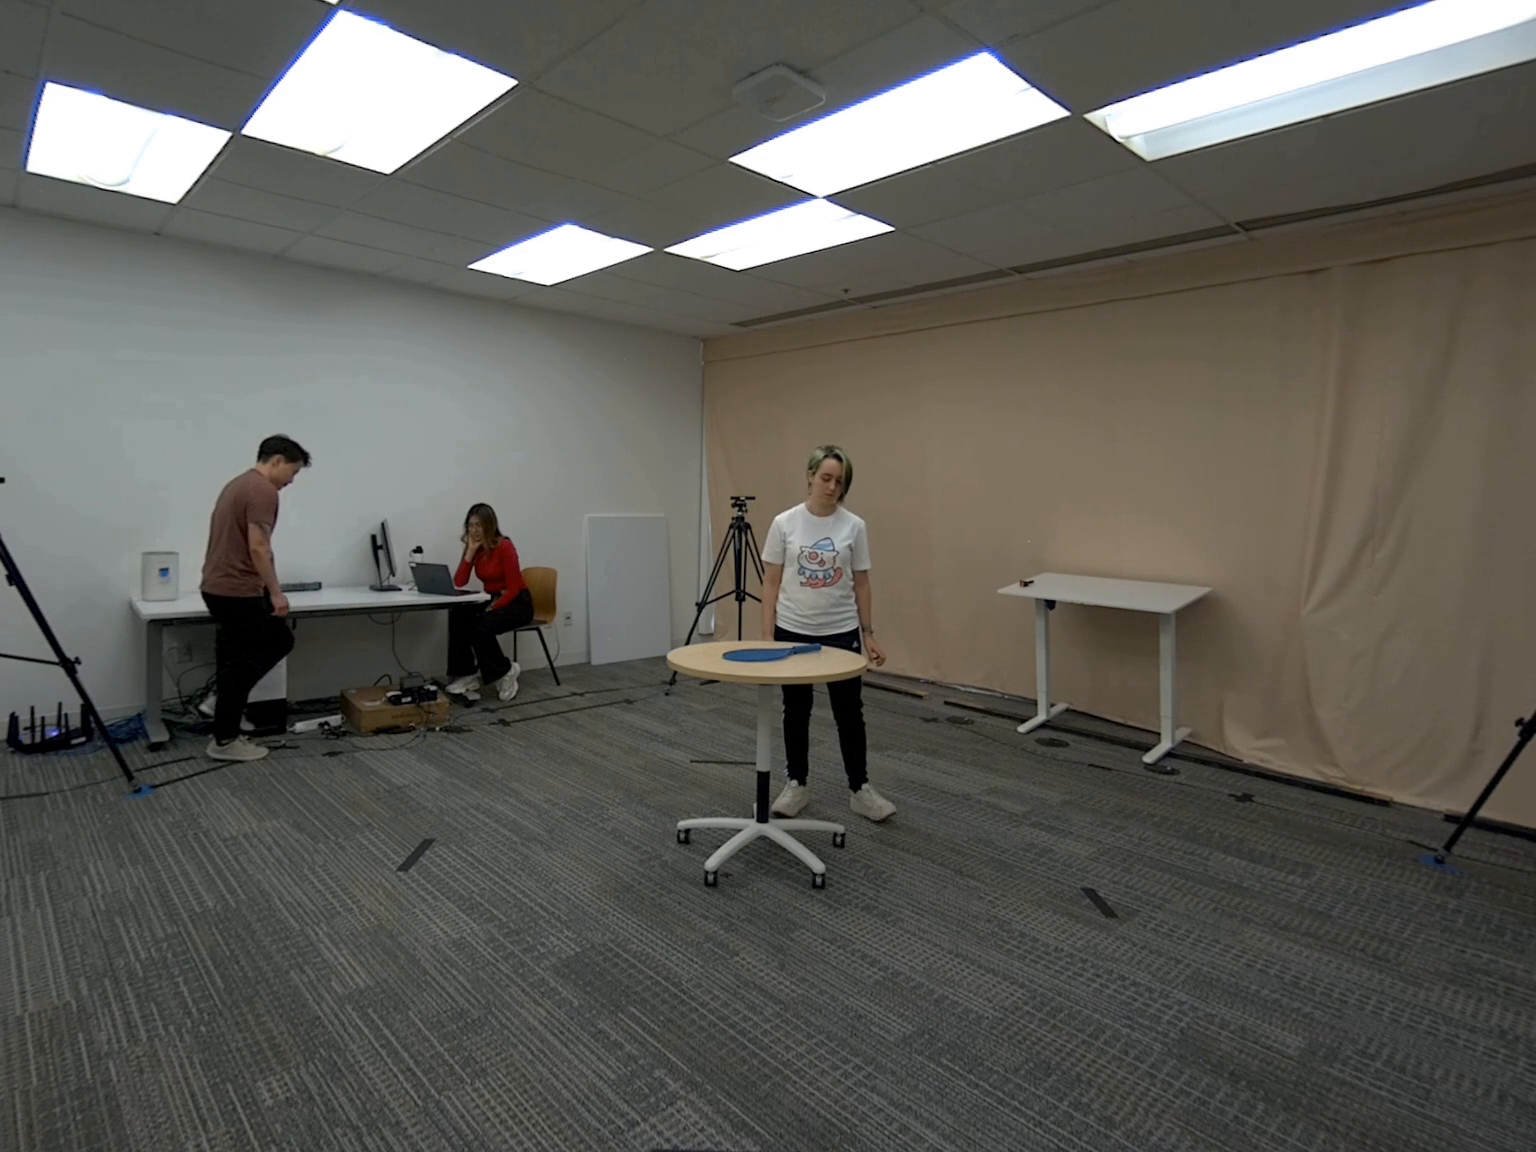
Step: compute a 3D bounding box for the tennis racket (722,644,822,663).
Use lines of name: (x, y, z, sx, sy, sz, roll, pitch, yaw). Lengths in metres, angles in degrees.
tennis racket: (-0.001, 0.300, 3.271, 0.424, 0.031, 0.219, -3, 7, -33)
